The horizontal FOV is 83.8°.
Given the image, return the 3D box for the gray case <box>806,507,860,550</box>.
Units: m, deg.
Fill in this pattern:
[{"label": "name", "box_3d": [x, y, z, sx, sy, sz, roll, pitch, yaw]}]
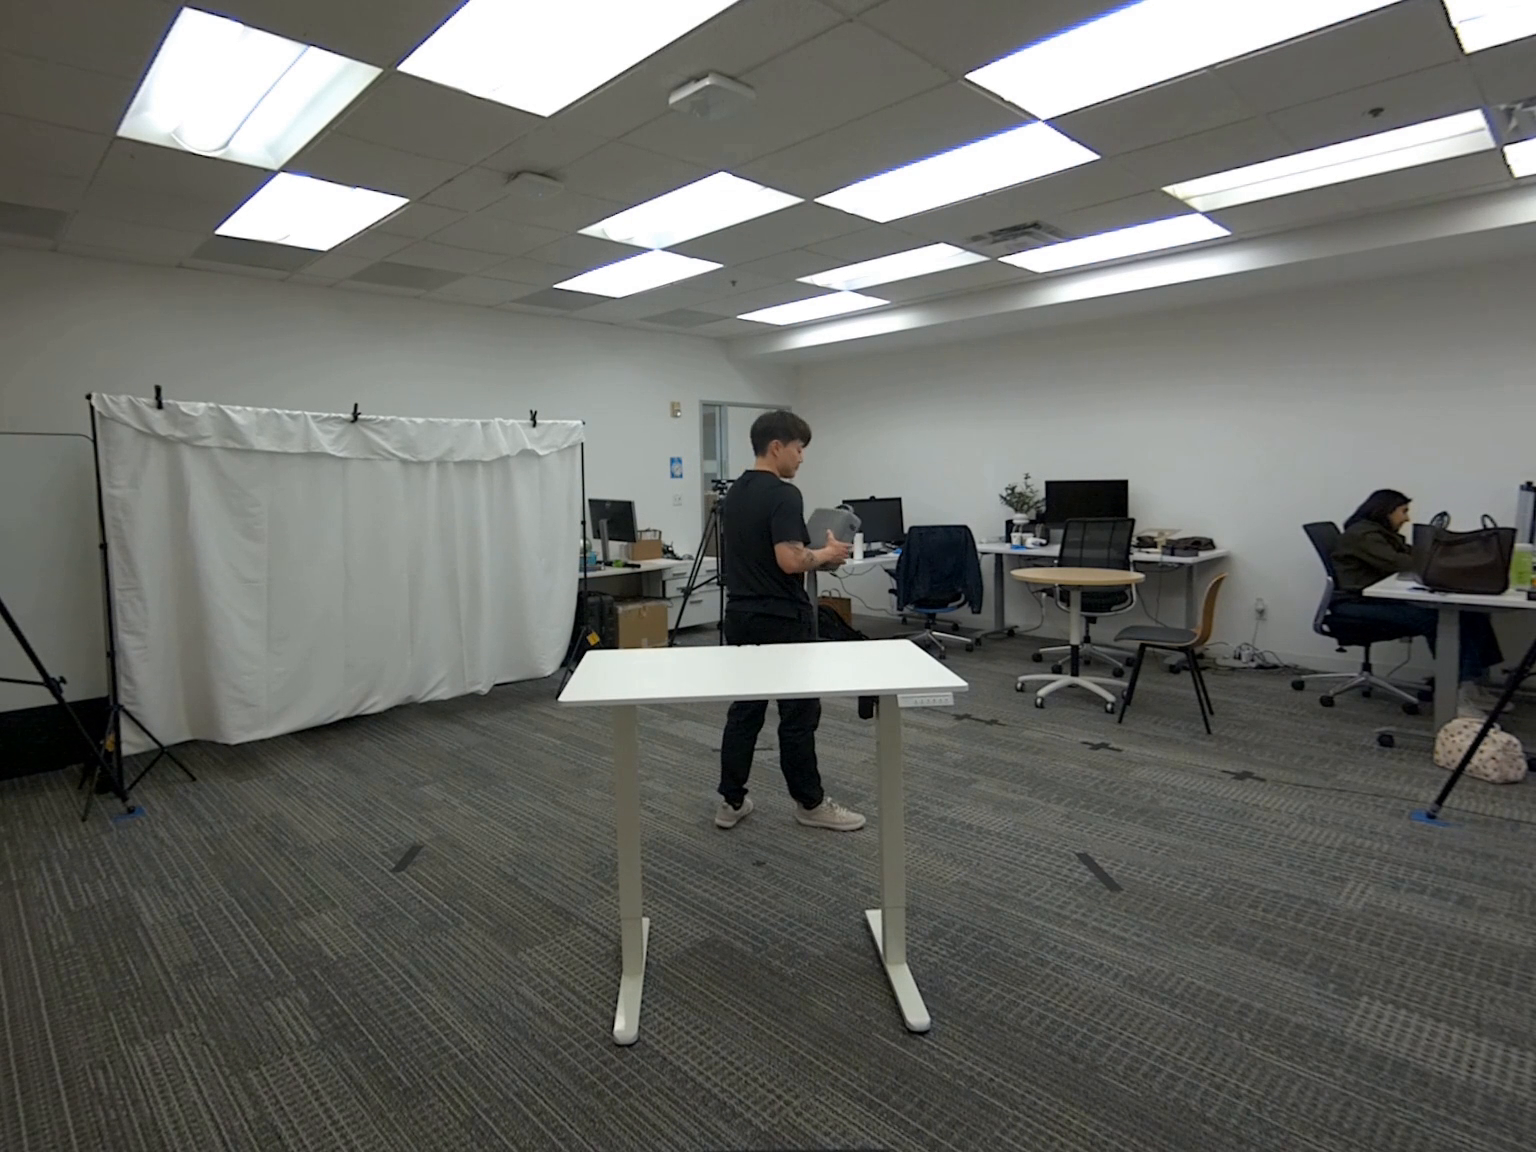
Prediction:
[{"label": "gray case", "box_3d": [0.233, -0.154, 3.540, 0.101, 0.261, 0.264, 32, -10, -27]}]
